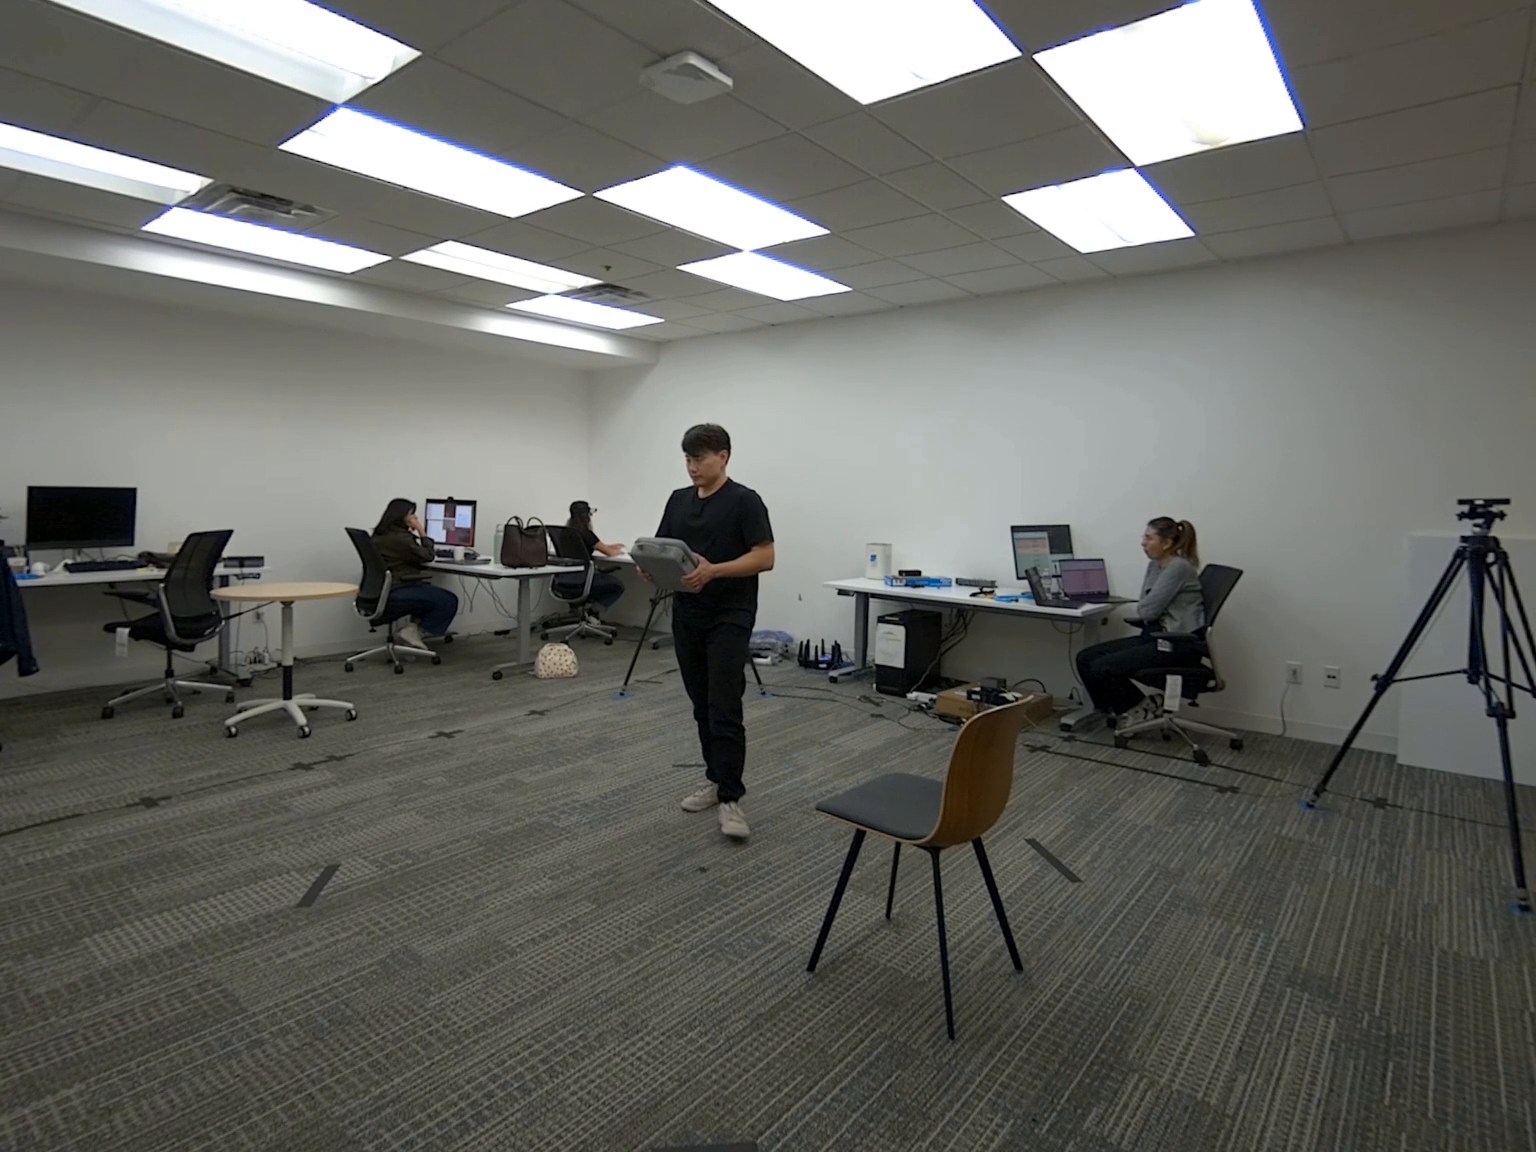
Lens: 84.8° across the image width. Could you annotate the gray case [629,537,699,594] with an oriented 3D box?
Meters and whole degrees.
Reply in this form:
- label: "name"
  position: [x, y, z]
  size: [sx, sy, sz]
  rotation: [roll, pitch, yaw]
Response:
- label: "gray case"
  position: [-0.419, -0.057, 3.475]
  size: [0.265, 0.105, 0.250]
  rotation: [6, -30, 36]
